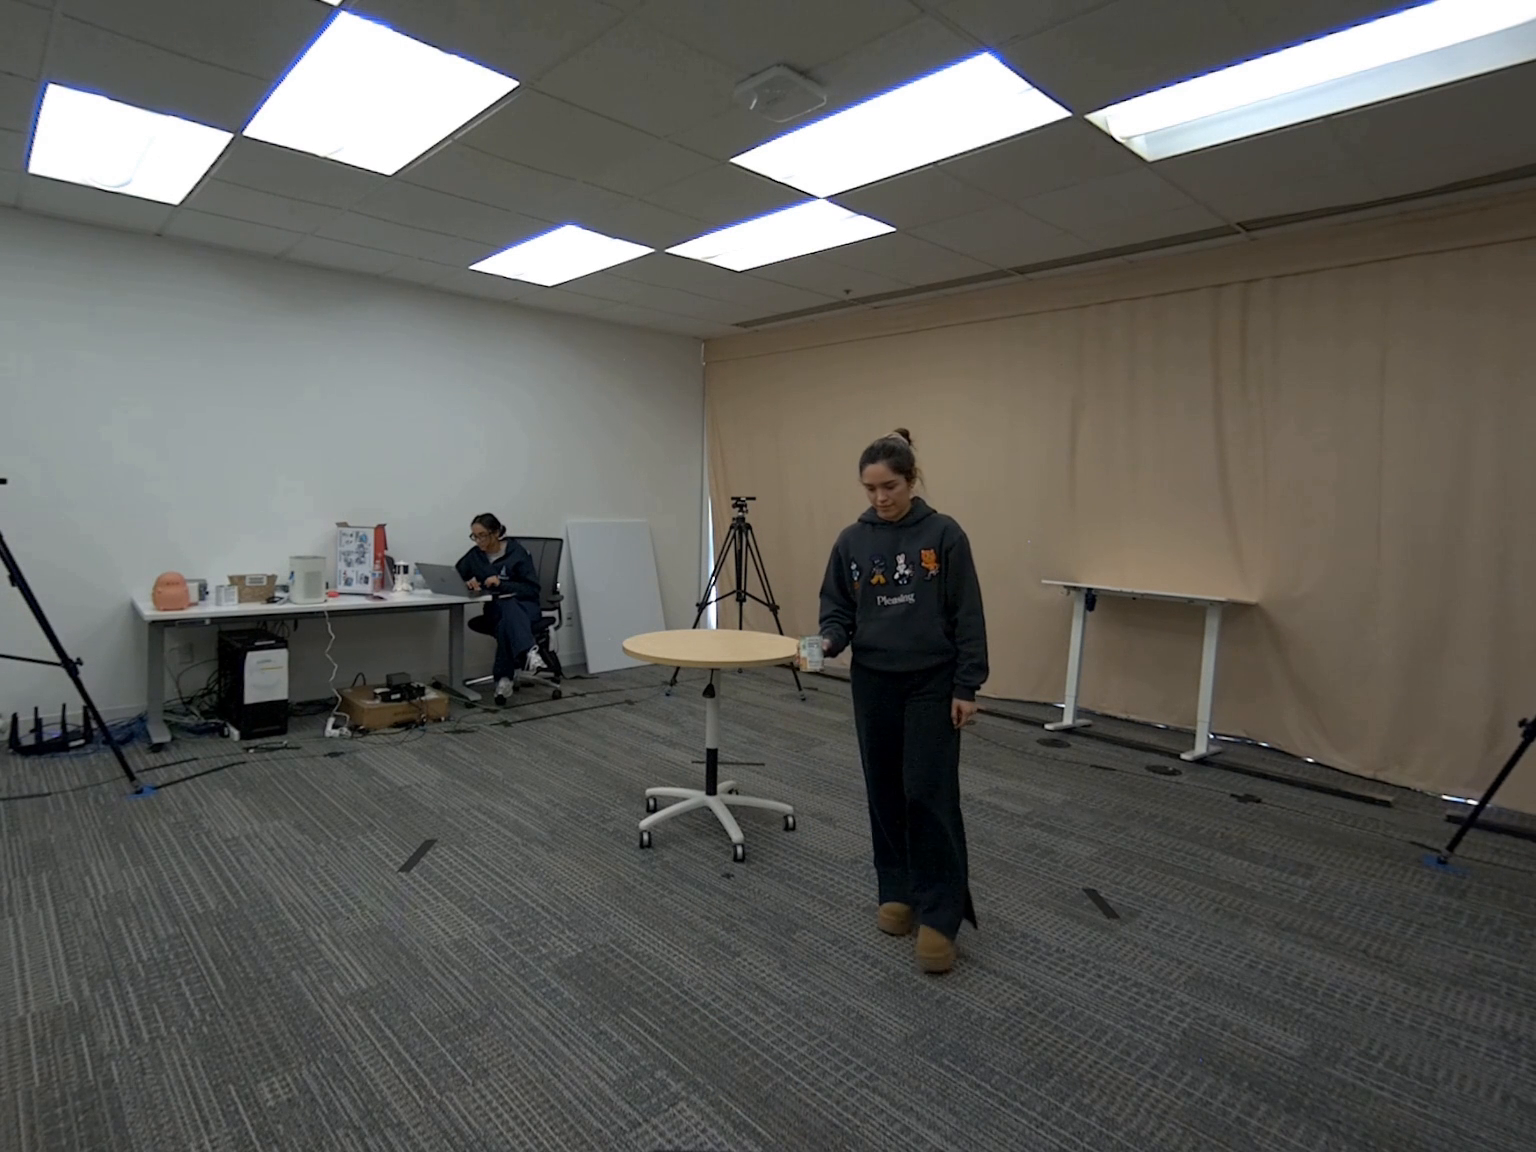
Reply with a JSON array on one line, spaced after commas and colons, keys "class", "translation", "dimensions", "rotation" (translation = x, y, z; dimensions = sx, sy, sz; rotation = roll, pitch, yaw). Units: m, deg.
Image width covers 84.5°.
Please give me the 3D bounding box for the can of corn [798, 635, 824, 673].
[{"class": "can of corn", "translation": [0.136, 0.246, 2.608], "dimensions": [0.074, 0.111, 0.074], "rotation": [-1, -5, -1]}]
